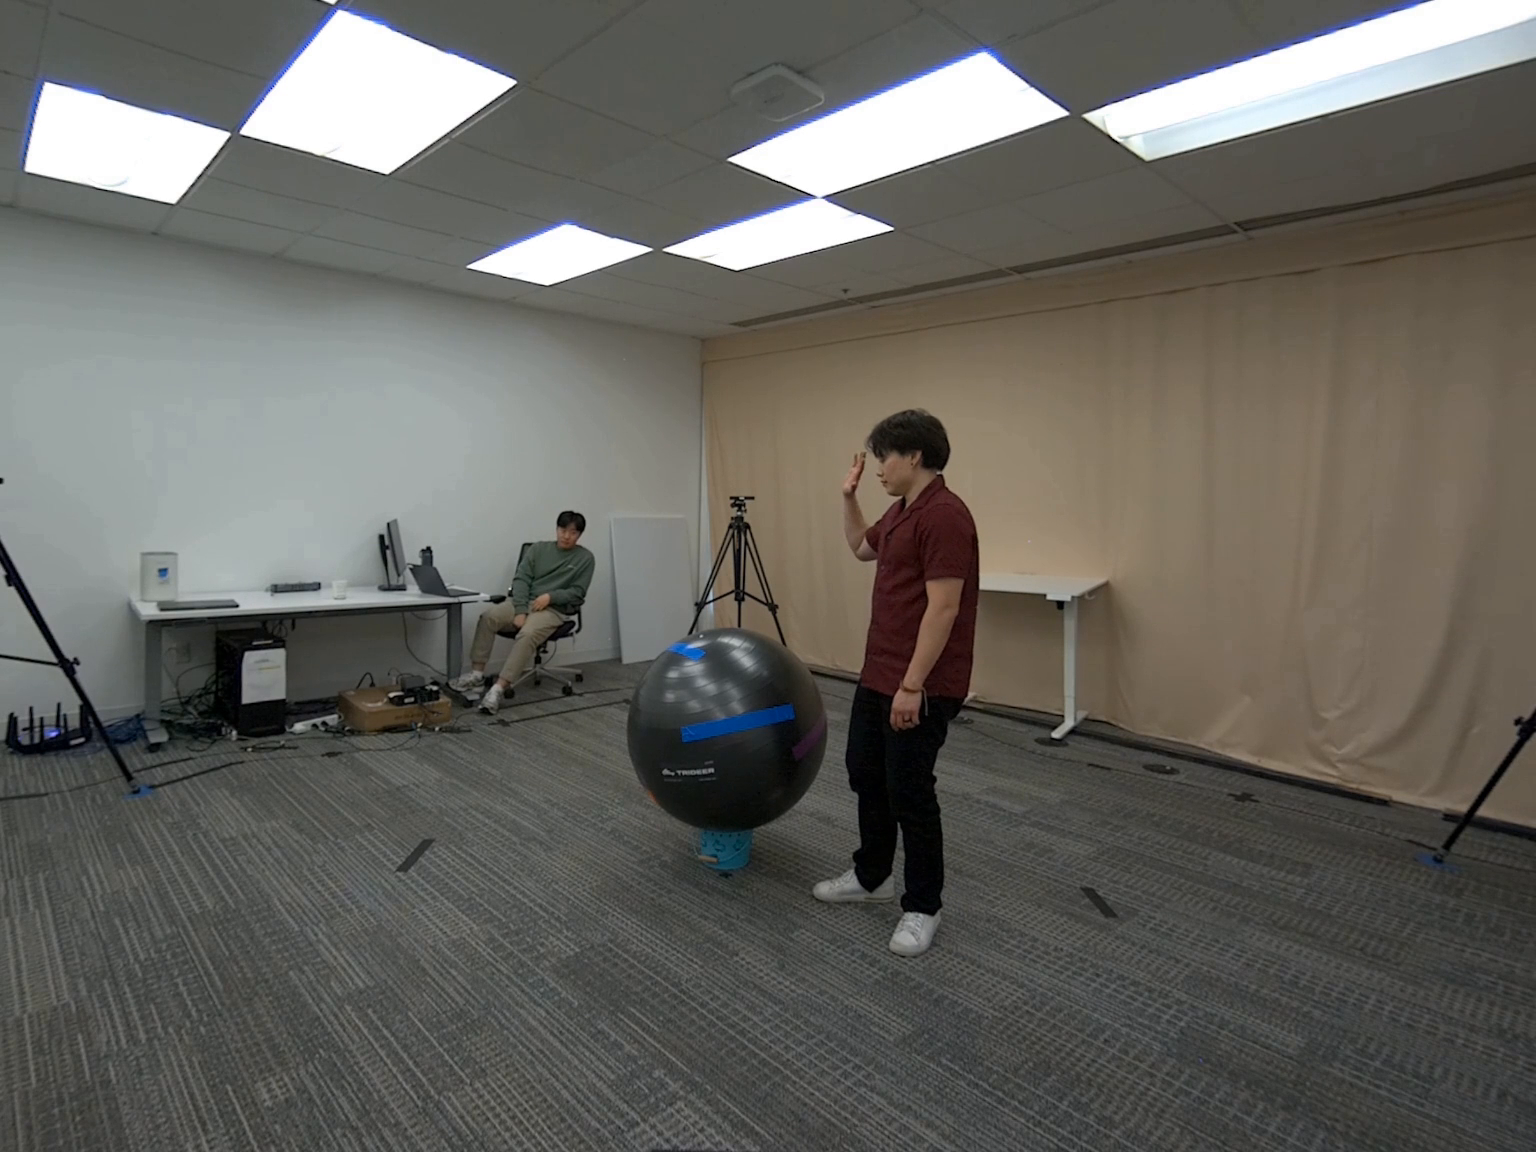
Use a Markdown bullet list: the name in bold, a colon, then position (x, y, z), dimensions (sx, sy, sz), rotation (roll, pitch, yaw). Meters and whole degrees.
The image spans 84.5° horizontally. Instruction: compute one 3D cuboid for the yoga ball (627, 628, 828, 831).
- **yoga ball**: position (-0.177, 0.588, 3.217), dimensions (0.757, 0.756, 0.761), rotation (1, 4, -1)
